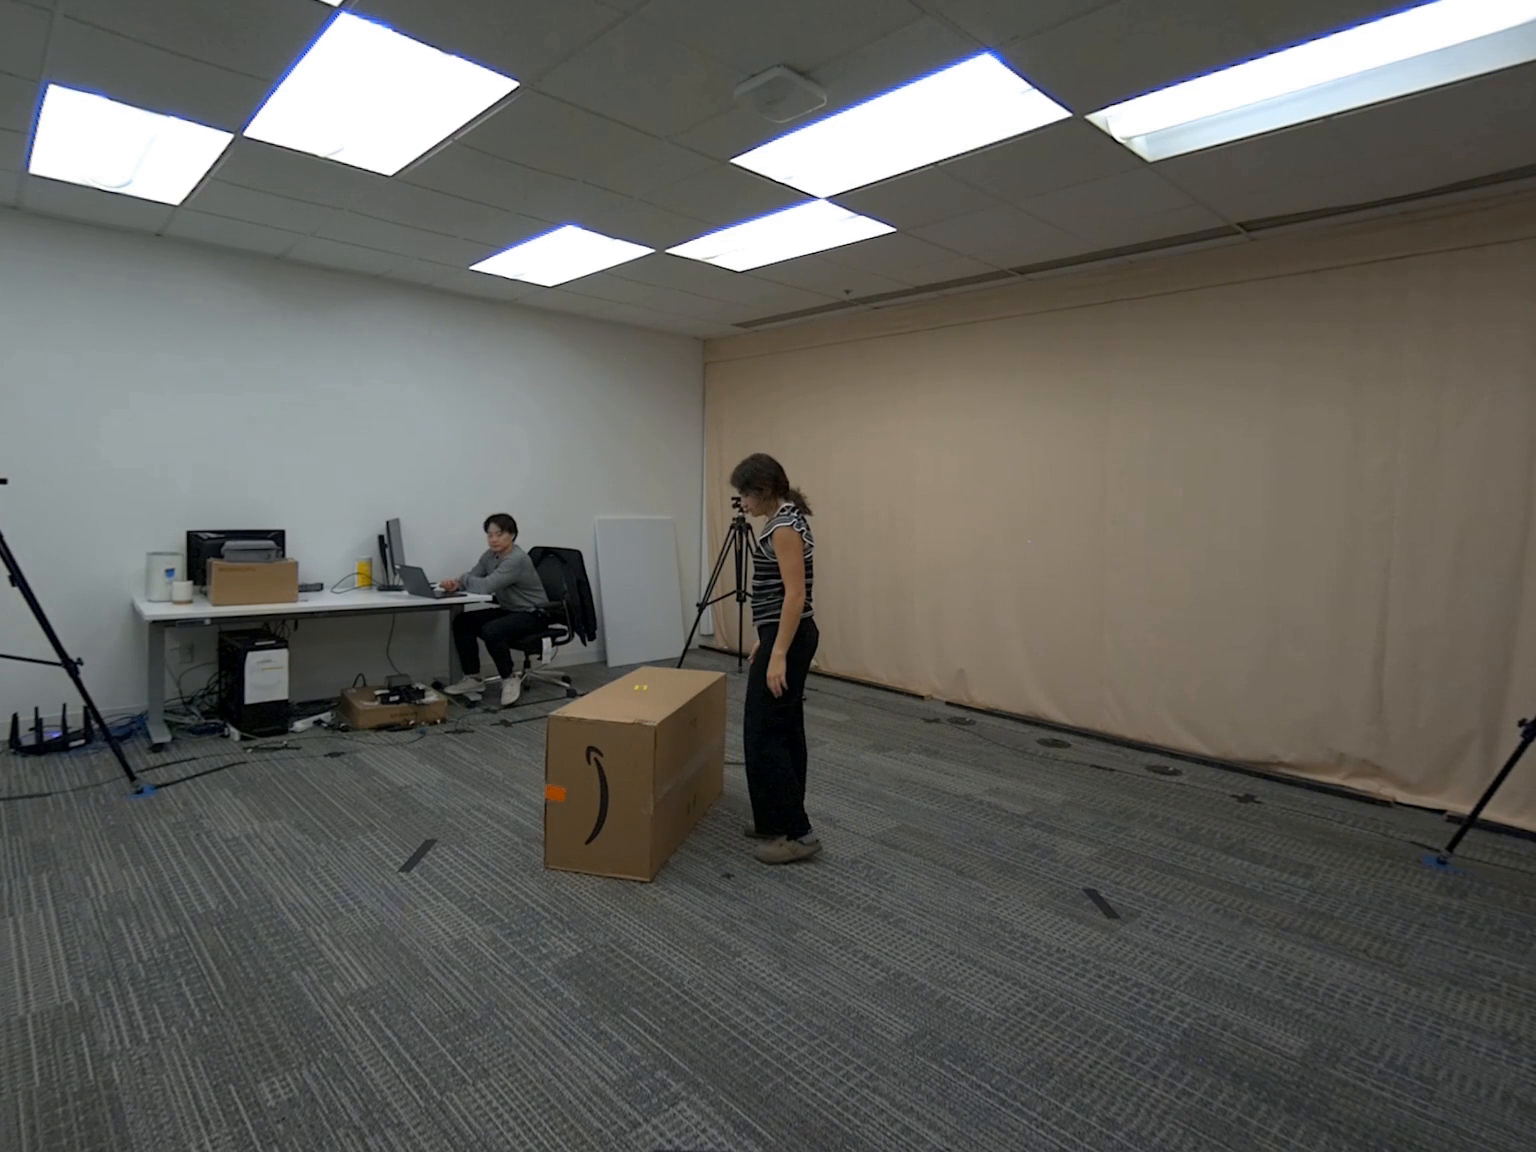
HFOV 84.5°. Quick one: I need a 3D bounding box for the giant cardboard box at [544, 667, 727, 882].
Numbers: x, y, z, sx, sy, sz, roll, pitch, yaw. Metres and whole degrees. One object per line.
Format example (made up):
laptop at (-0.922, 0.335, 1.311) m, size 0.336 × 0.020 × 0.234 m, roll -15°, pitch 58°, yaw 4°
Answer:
giant cardboard box at (-0.524, 0.772, 3.559) m, size 0.431 × 0.576 × 1.017 m, roll 3°, pitch 5°, yaw 12°
